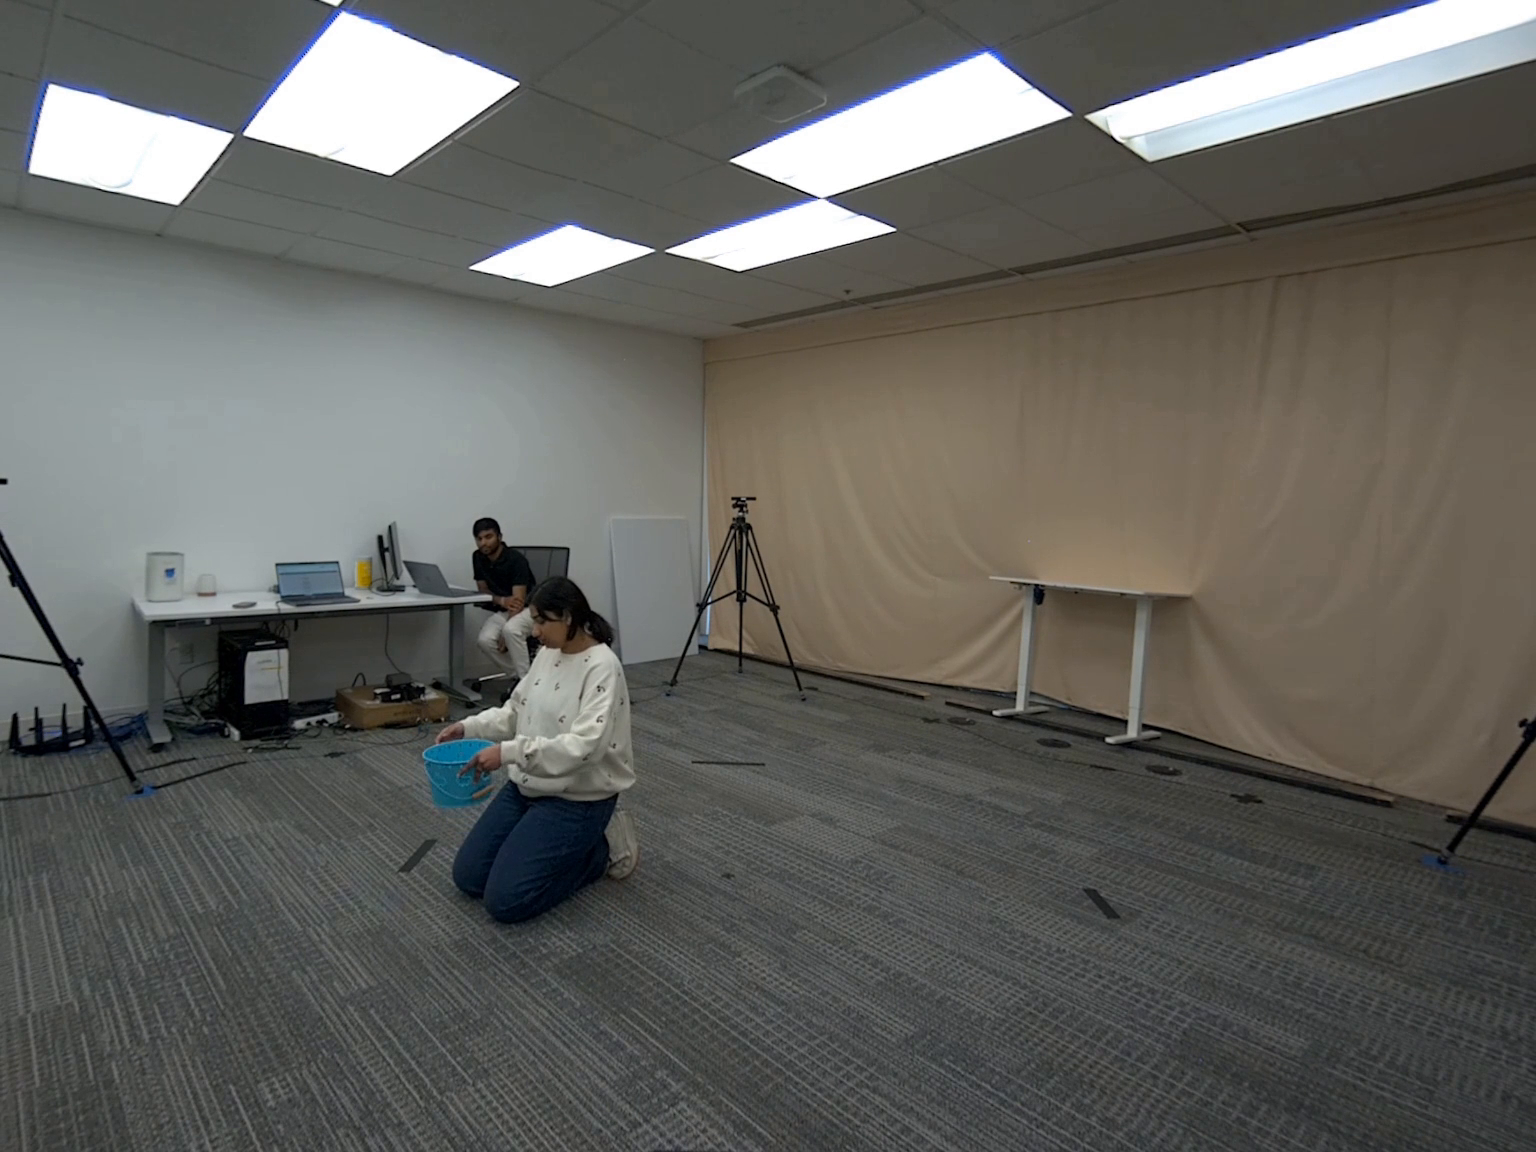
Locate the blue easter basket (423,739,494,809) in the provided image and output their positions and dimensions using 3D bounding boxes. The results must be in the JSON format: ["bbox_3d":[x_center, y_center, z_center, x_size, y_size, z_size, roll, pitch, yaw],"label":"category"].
[{"bbox_3d":[-0.986,0.632,2.698,0.243,0.155,0.245,-1,6,-1],"label":"blue easter basket"}]
